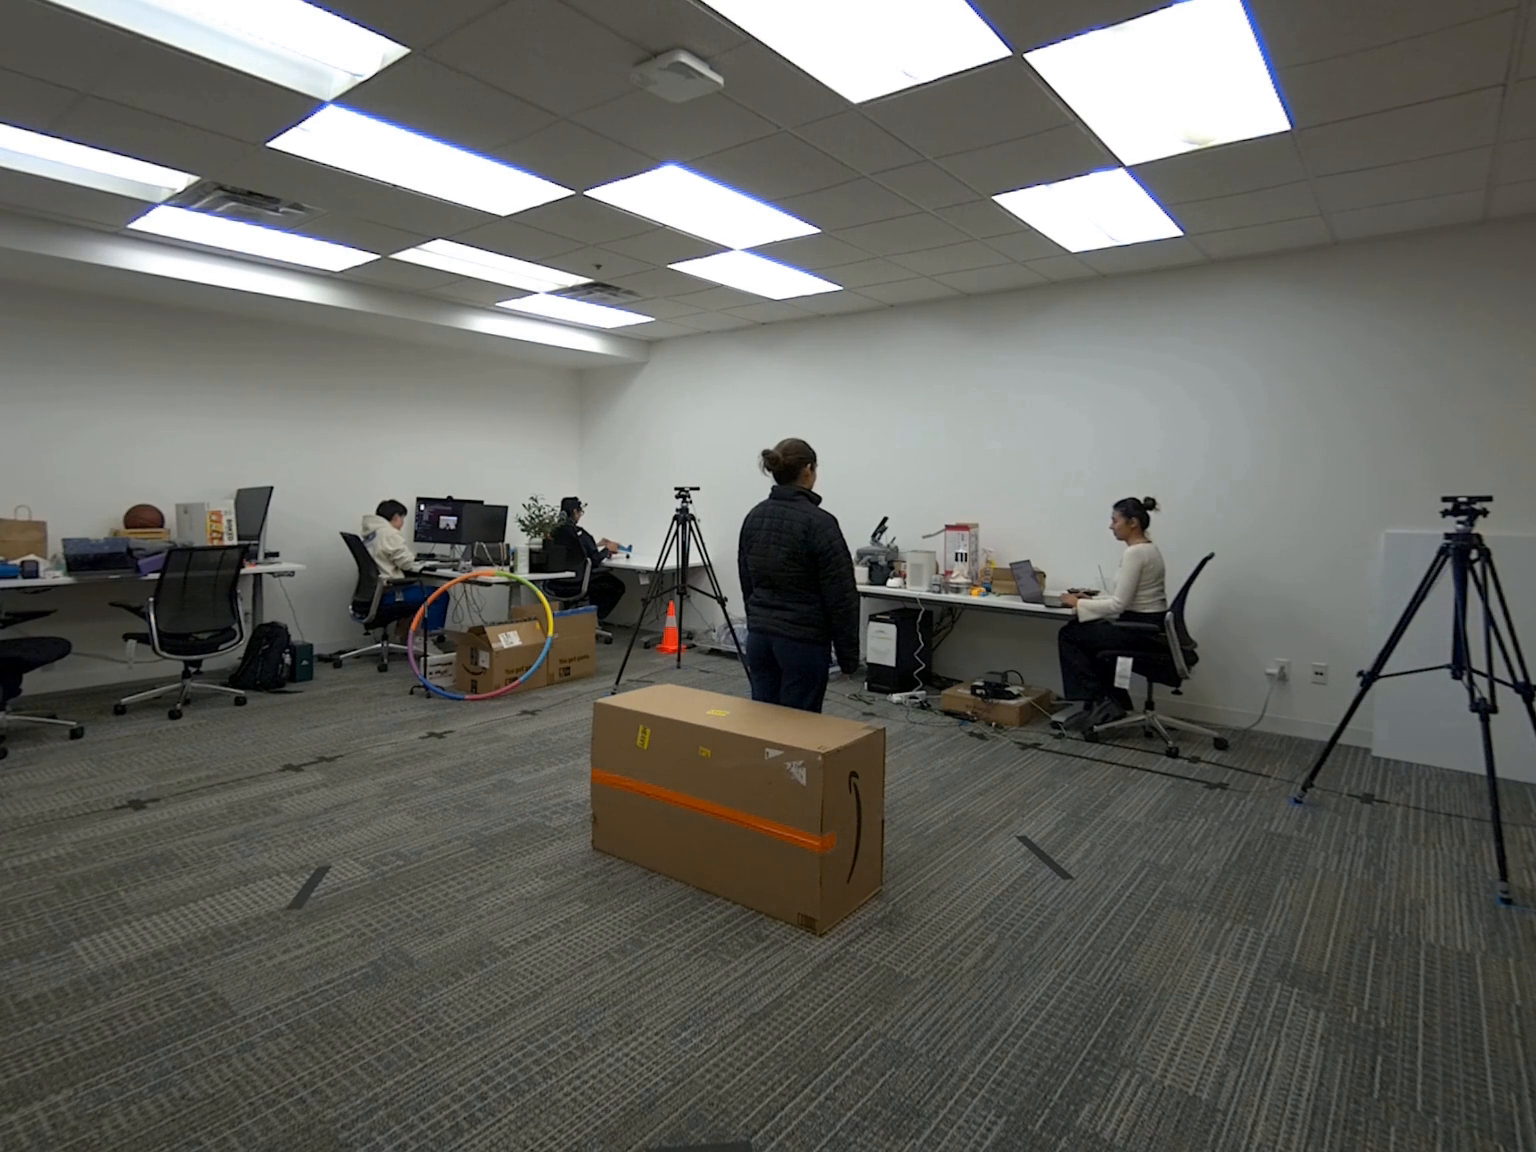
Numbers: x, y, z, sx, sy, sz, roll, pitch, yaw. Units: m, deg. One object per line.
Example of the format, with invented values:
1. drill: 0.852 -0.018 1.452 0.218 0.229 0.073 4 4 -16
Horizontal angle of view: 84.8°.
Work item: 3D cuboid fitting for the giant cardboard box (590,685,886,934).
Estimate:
1. giant cardboard box: -0.121 0.781 3.115 1.059 0.576 0.413 4 4 37
